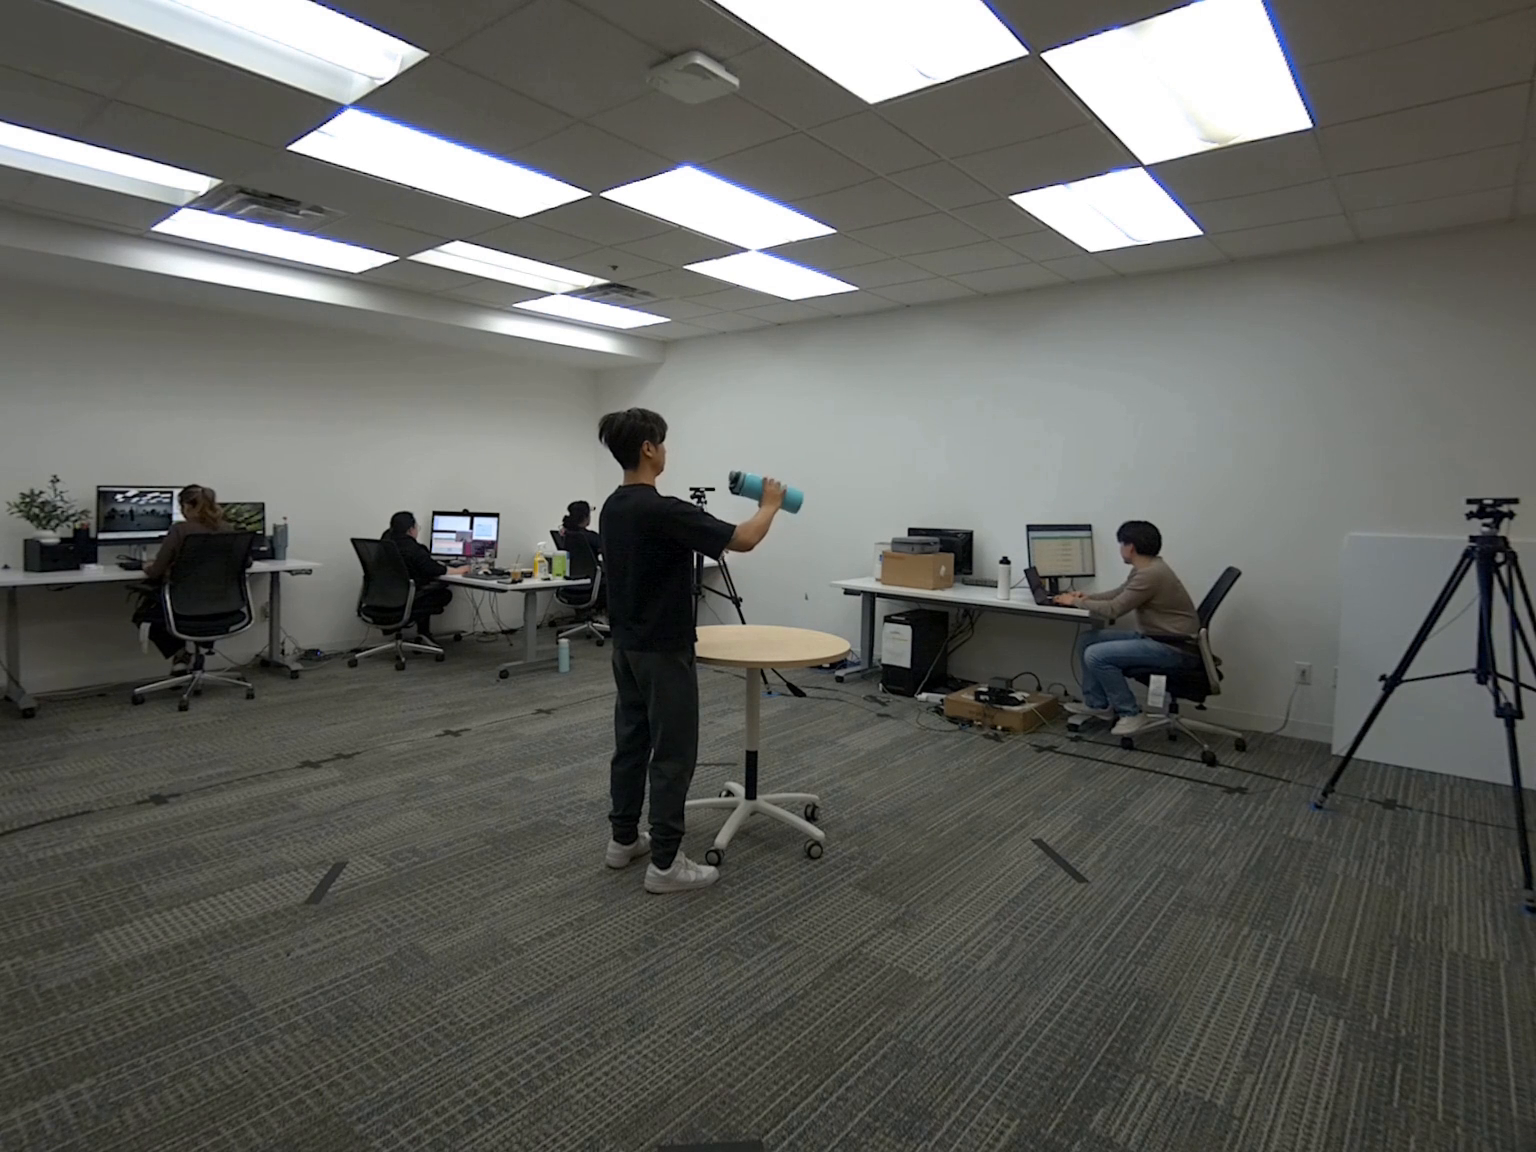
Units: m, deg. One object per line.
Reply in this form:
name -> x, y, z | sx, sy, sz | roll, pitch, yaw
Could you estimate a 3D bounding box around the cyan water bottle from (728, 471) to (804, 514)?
cyan water bottle -> -0.027, -0.308, 3.144 | 0.282, 0.092, 0.093 | 17, 2, -5
